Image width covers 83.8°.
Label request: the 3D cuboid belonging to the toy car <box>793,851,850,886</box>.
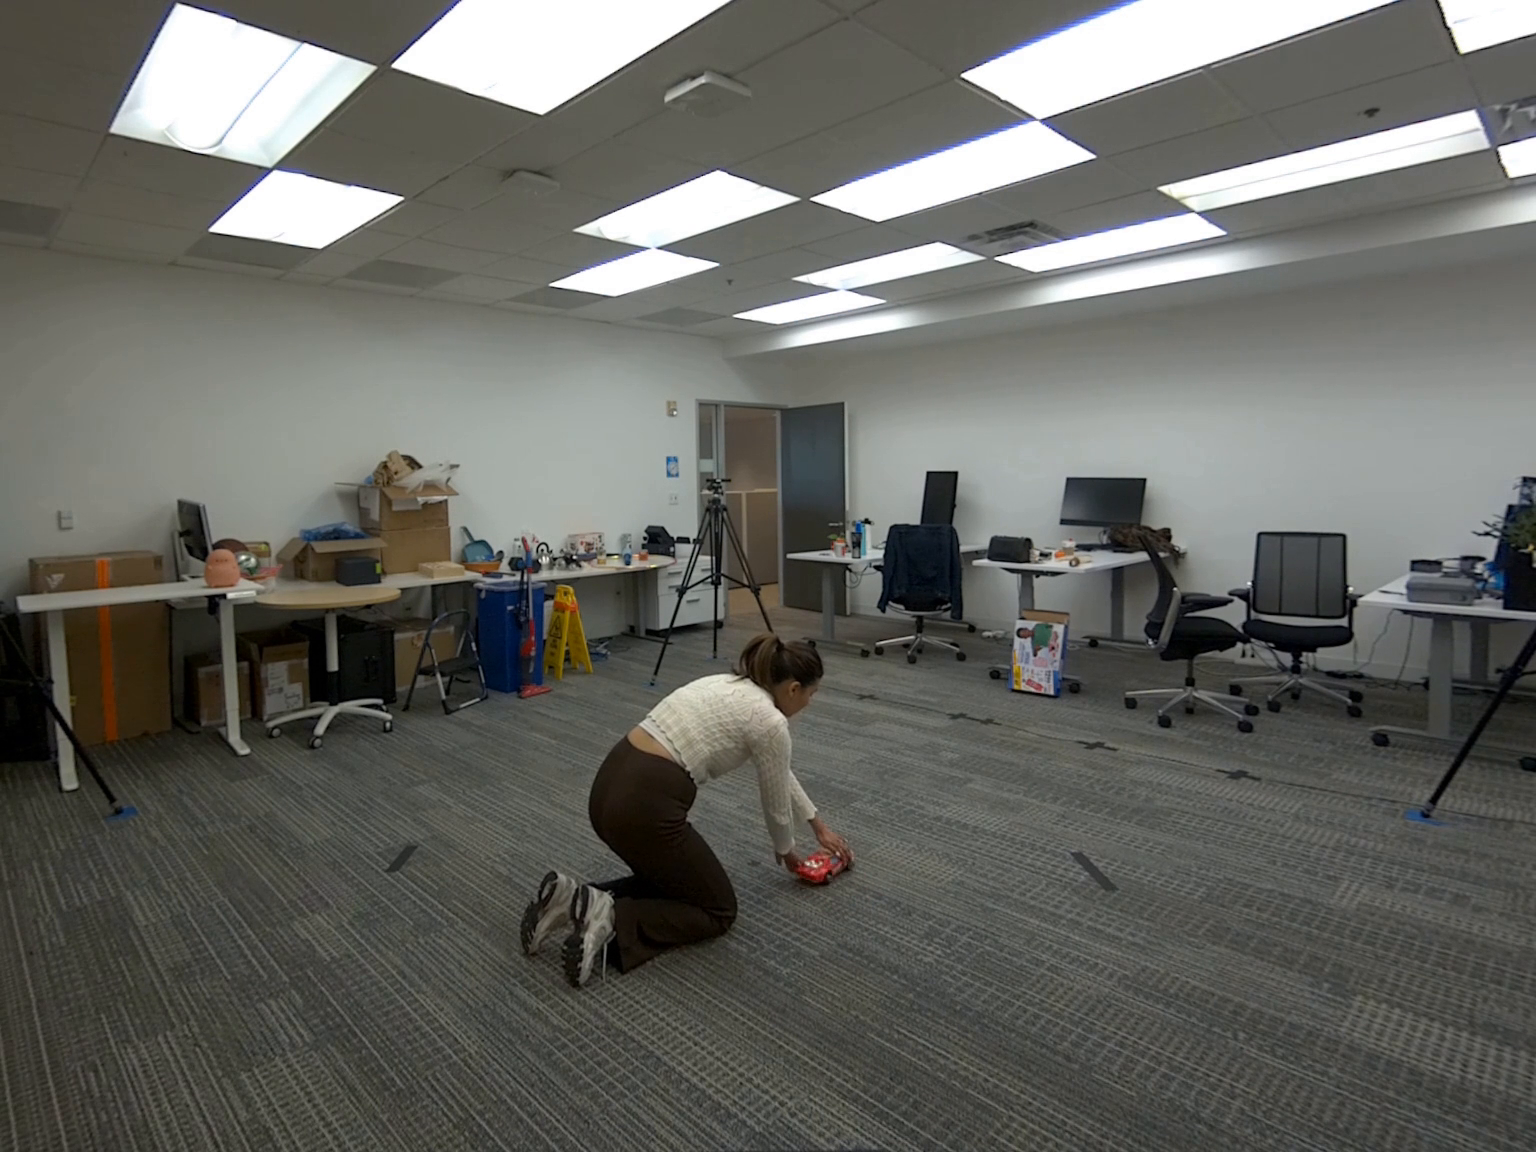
[{"bbox_3d":[0.193,1.020,2.998,0.134,0.083,0.246,4,-4,39],"label":"toy car"}]
